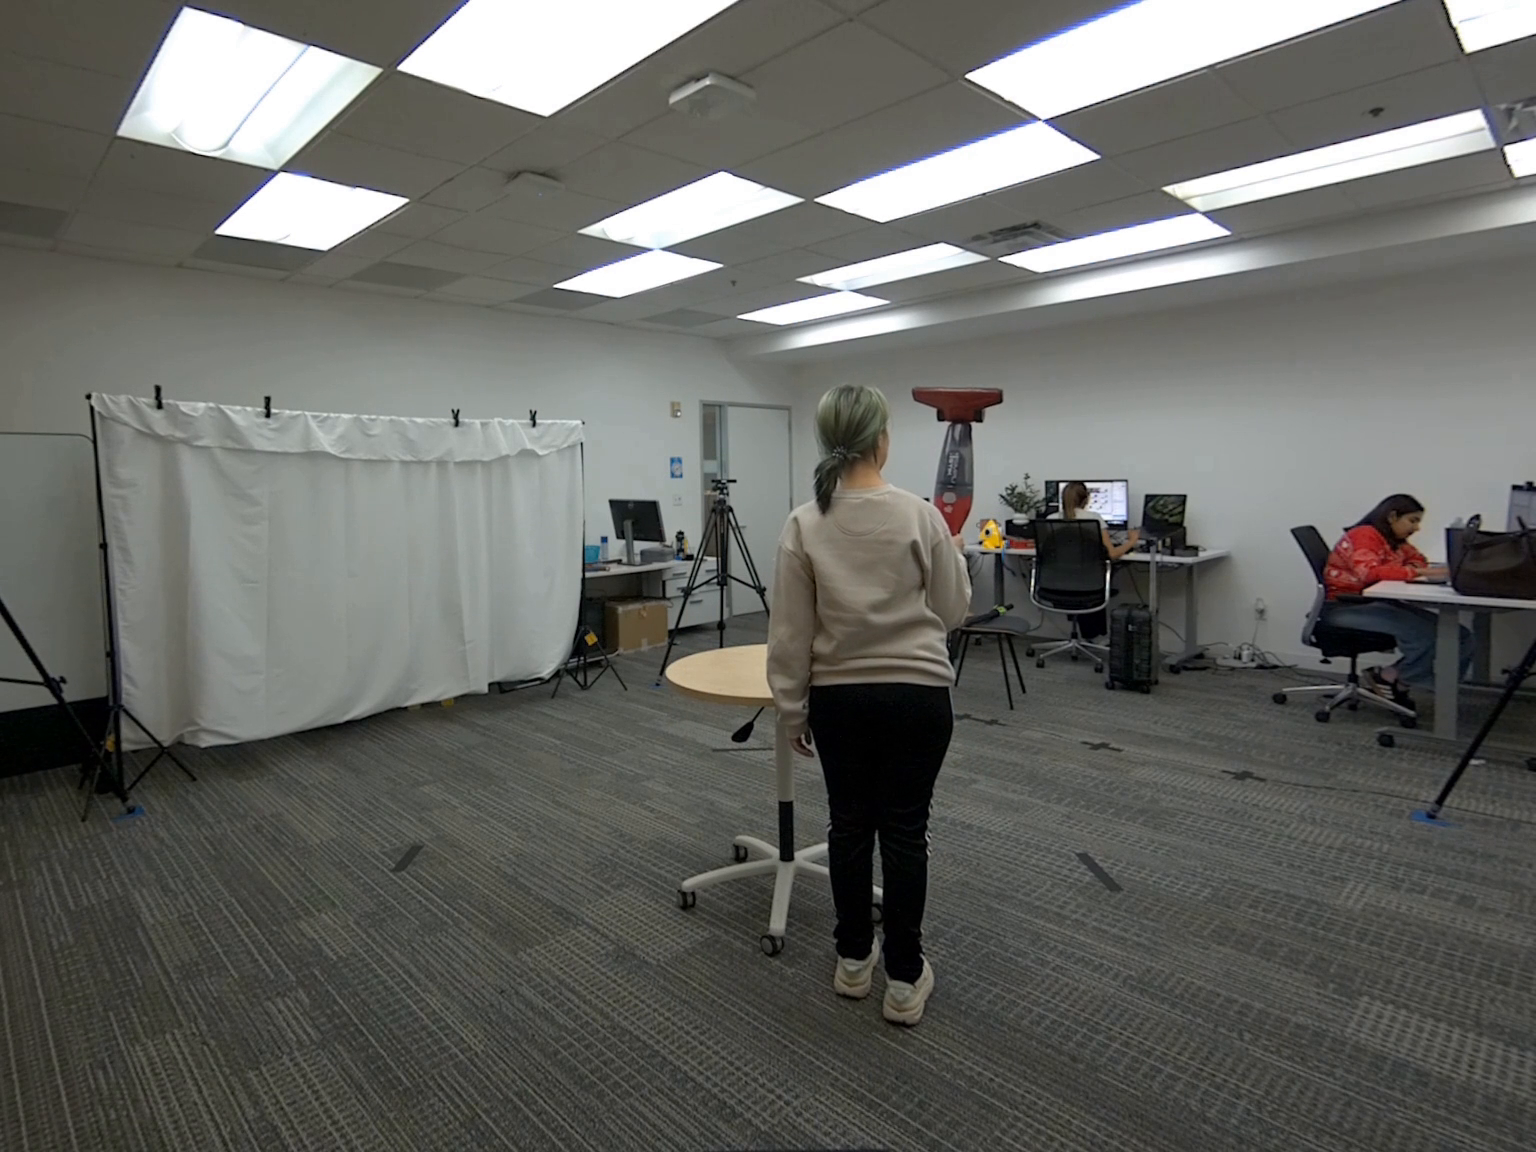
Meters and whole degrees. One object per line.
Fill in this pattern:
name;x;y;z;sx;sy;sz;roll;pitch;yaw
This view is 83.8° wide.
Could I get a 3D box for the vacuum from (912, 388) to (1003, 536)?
vacuum;0.540;0.001;2.533;0.259;1.042;0.141;5;8;24
